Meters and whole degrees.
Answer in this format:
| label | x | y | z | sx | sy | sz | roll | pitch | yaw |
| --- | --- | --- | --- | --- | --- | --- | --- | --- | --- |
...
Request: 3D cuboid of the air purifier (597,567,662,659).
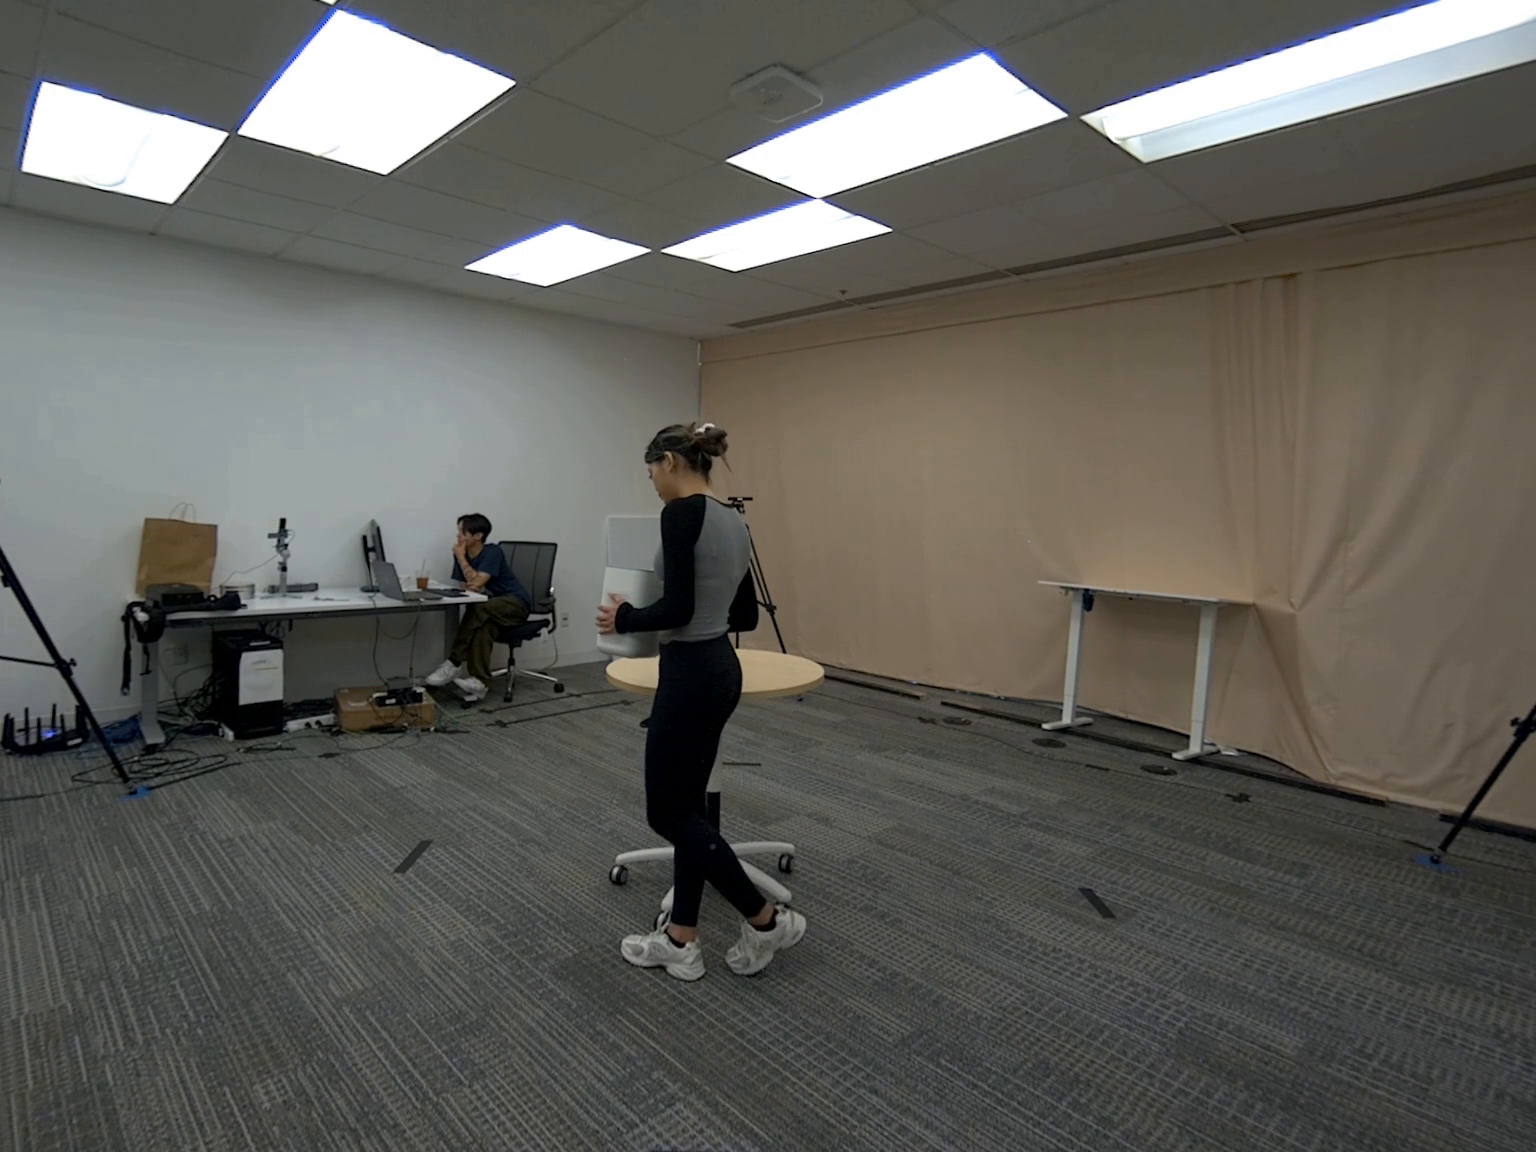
| label | x | y | z | sx | sy | sz | roll | pitch | yaw |
| --- | --- | --- | --- | --- | --- | --- | --- | --- | --- |
| air purifier | -0.407 | 0.110 | 2.560 | 0.174 | 0.266 | 0.168 | 5 | -2 | 26 |
